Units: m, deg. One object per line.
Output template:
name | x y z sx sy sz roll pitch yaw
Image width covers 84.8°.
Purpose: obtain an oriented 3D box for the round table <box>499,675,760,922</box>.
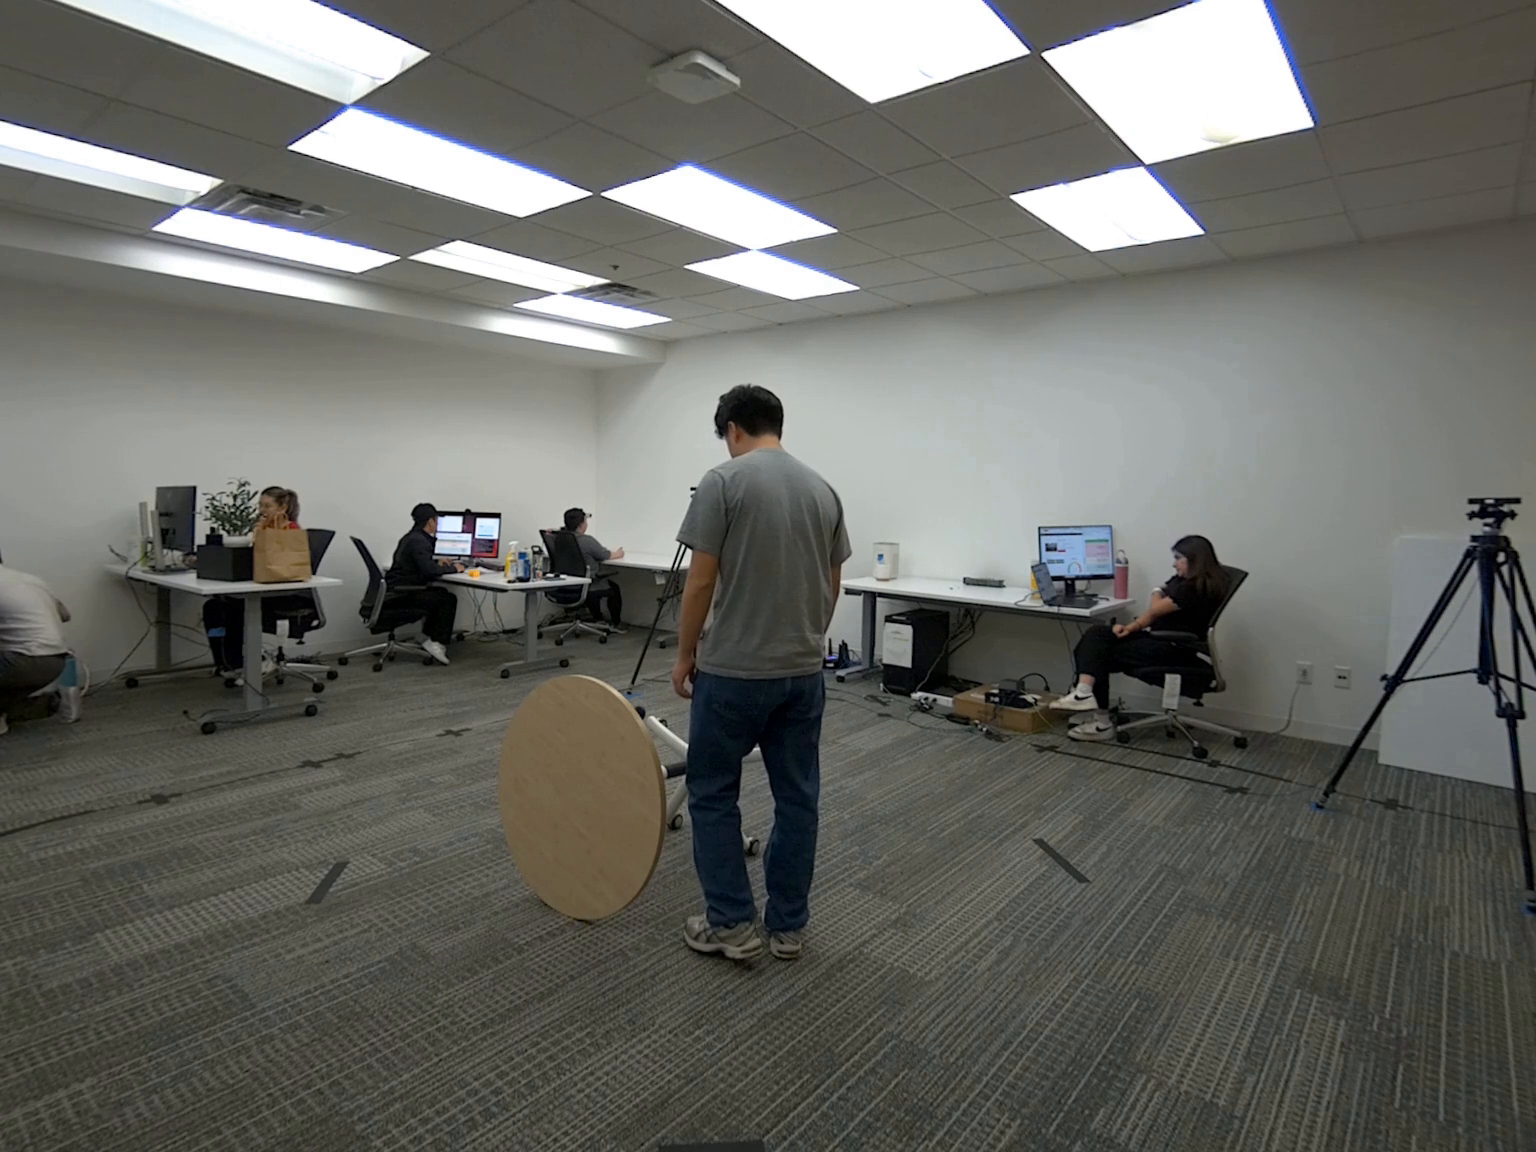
round table | -0.430 0.720 3.080 0.789 0.765 0.768 4 -1 36
